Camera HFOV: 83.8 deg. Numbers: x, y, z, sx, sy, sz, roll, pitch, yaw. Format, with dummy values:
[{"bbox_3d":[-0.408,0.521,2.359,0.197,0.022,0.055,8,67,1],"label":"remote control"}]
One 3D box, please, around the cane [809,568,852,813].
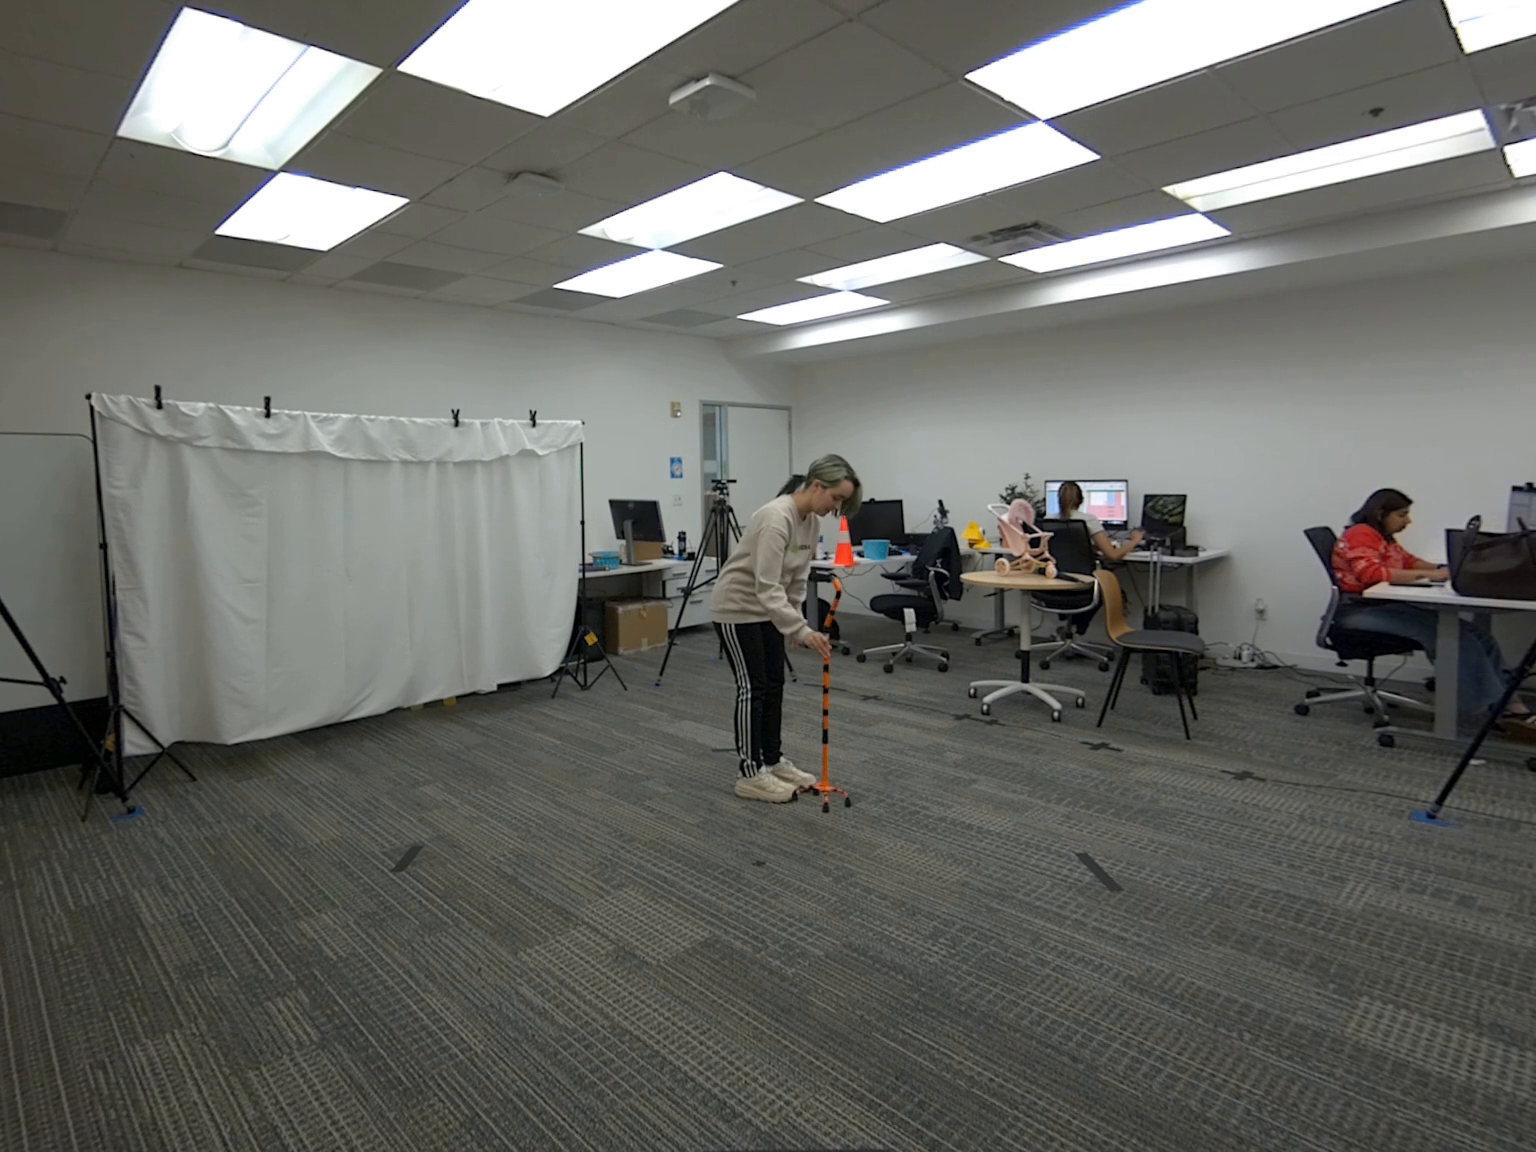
[{"bbox_3d":[0.222,0.453,3.400,0.147,0.907,0.212,0,1,-40],"label":"cane"}]
